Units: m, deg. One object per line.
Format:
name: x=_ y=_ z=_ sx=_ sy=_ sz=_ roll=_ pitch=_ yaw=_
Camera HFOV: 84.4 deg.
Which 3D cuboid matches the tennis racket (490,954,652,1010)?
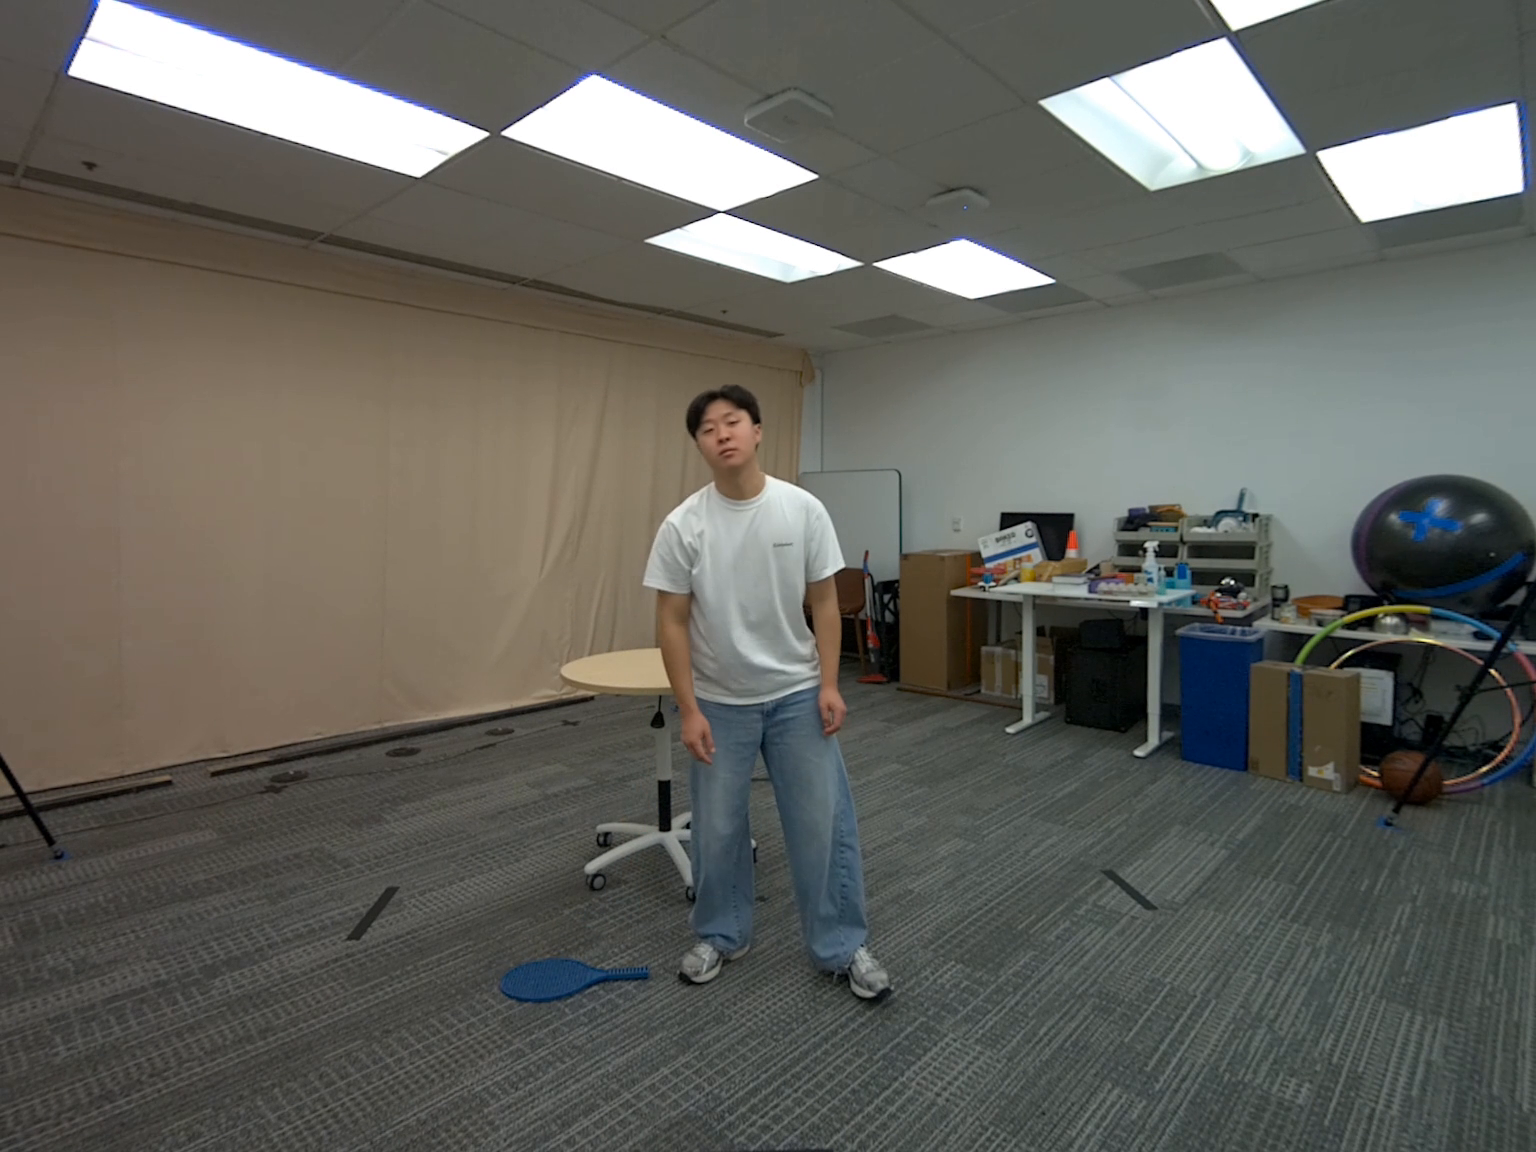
tennis racket: x=-0.567 y=1.181 z=2.475 sx=0.433 sy=0.032 sz=0.214 roll=-2 pitch=4 yaw=-1
